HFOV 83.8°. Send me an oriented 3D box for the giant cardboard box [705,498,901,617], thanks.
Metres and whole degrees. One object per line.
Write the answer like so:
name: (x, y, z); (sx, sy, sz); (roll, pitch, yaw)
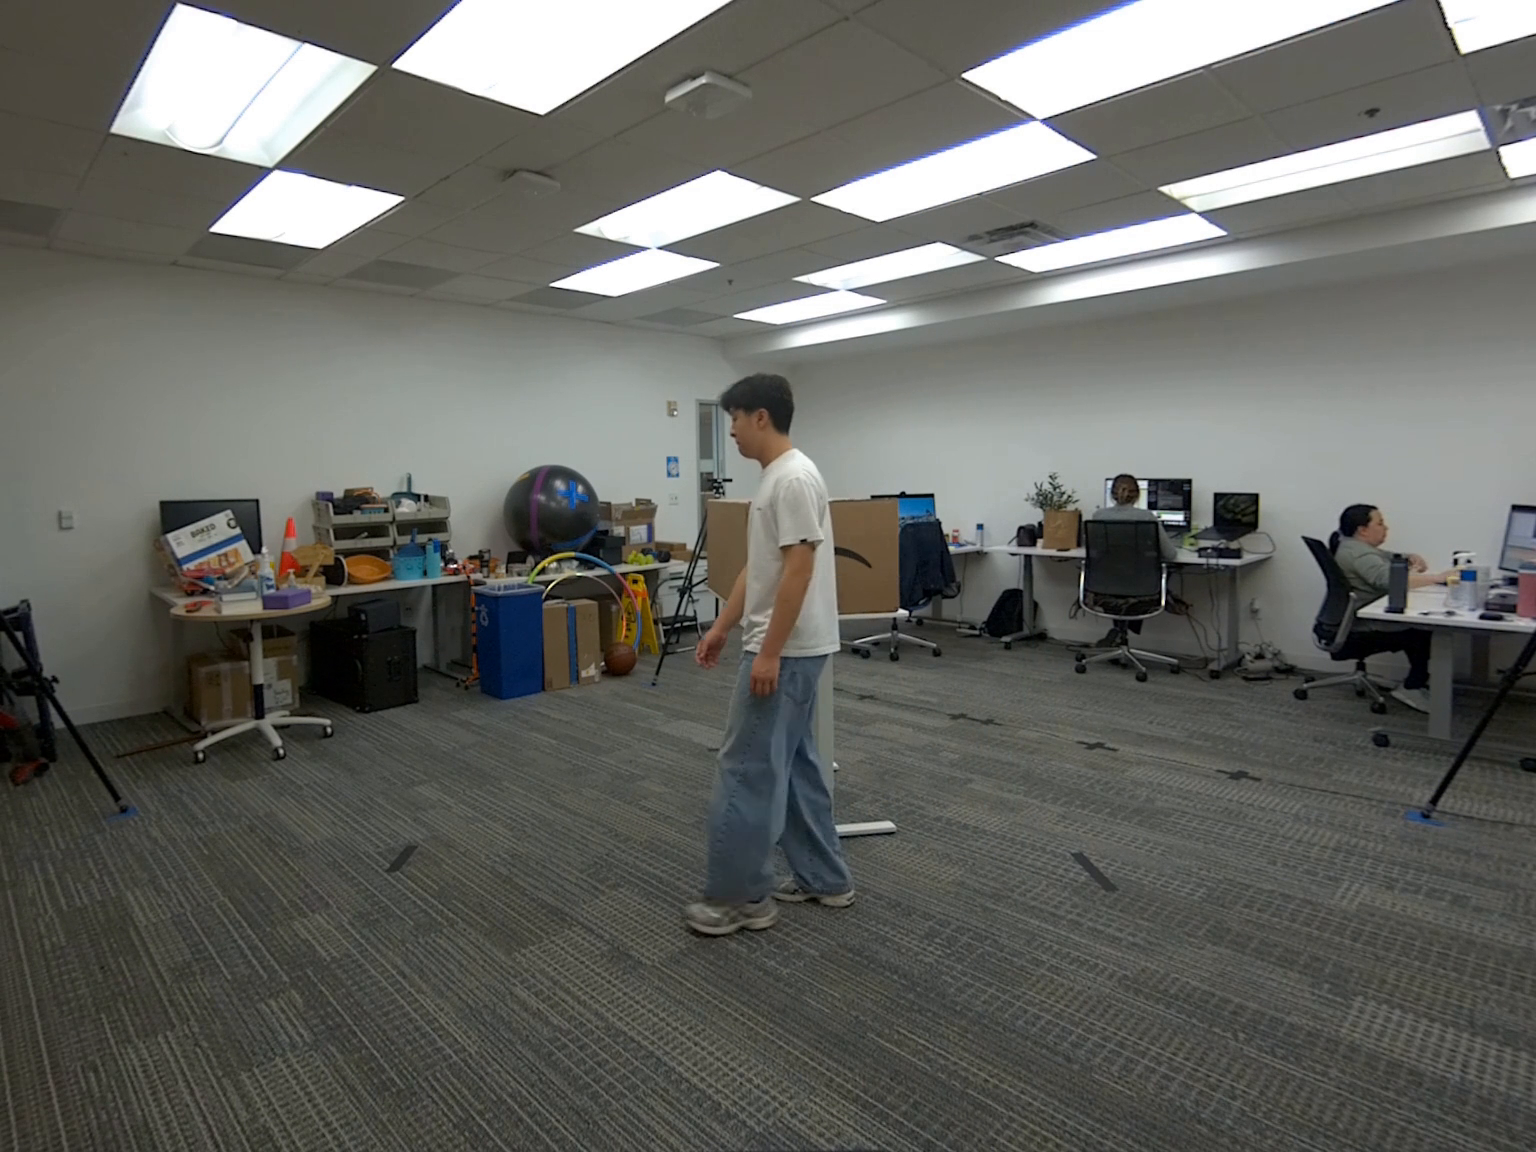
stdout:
giant cardboard box: (0.104, -0.113, 3.645); (0.572, 0.424, 1.039); (-2, 5, -11)
